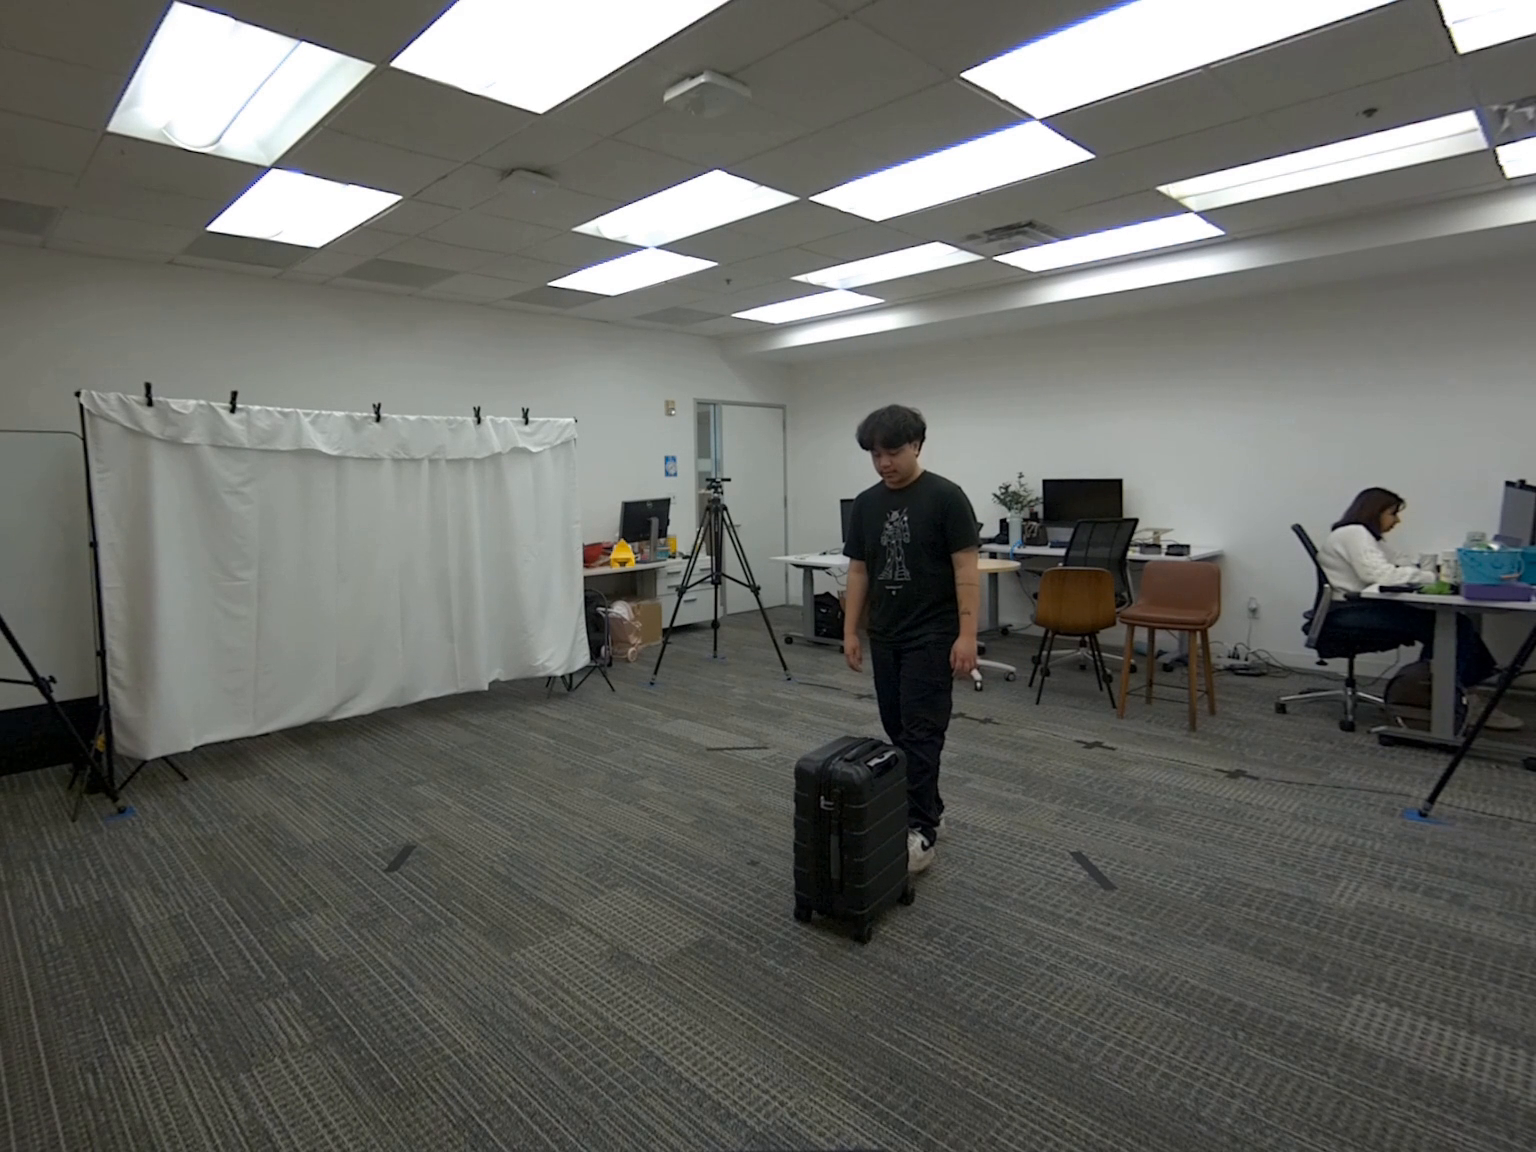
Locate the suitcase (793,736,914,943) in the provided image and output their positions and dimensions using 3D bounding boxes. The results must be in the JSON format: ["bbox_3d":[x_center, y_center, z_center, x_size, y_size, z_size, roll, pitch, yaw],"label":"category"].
[{"bbox_3d":[0.273,0.806,2.713,0.255,0.547,0.367,2,7,36],"label":"suitcase"}]
